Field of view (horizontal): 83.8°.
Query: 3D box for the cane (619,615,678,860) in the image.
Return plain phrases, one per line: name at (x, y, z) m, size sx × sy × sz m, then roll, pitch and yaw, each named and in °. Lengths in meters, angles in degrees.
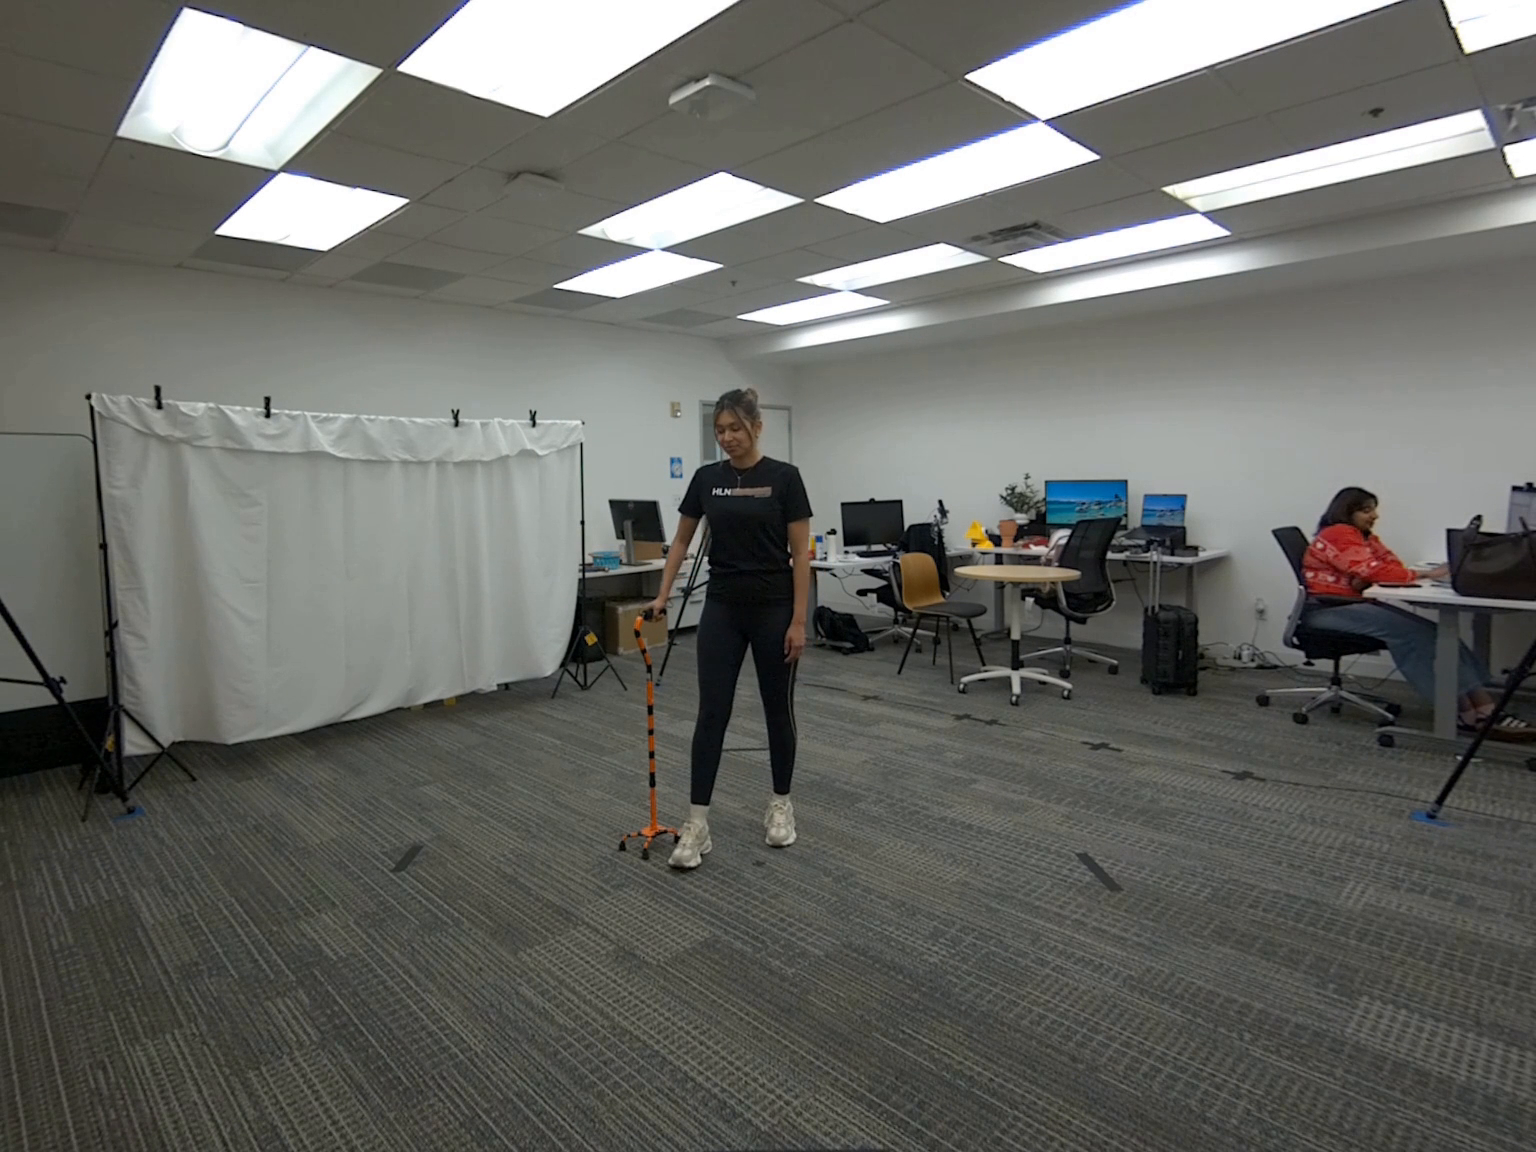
cane at (-0.458, 0.582, 3.246) m, size 0.156 × 0.904 × 0.201 m, roll 1°, pitch 5°, yaw 34°
